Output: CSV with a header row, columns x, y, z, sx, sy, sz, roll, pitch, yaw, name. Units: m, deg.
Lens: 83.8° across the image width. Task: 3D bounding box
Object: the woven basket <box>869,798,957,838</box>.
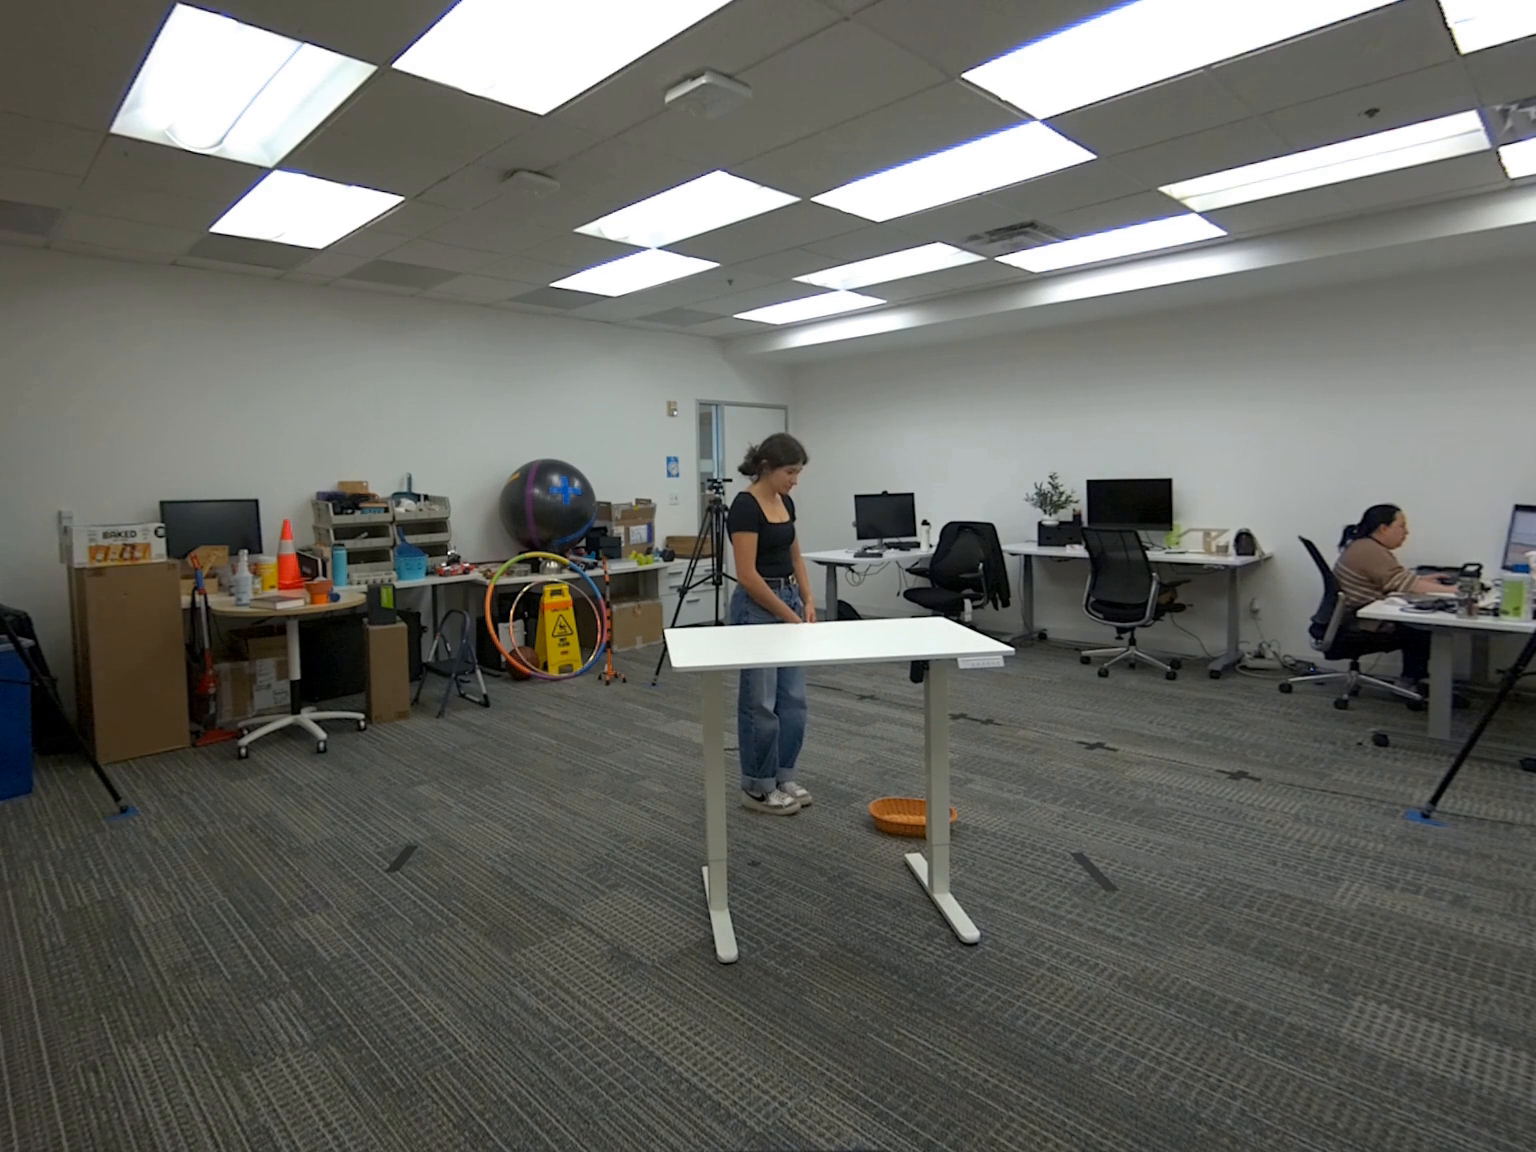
x,y,z,sx,sy,sz,roll,pitch,yaw,name
0.571,0.963,3.403,0.356,0.073,0.250,1,8,17,woven basket
